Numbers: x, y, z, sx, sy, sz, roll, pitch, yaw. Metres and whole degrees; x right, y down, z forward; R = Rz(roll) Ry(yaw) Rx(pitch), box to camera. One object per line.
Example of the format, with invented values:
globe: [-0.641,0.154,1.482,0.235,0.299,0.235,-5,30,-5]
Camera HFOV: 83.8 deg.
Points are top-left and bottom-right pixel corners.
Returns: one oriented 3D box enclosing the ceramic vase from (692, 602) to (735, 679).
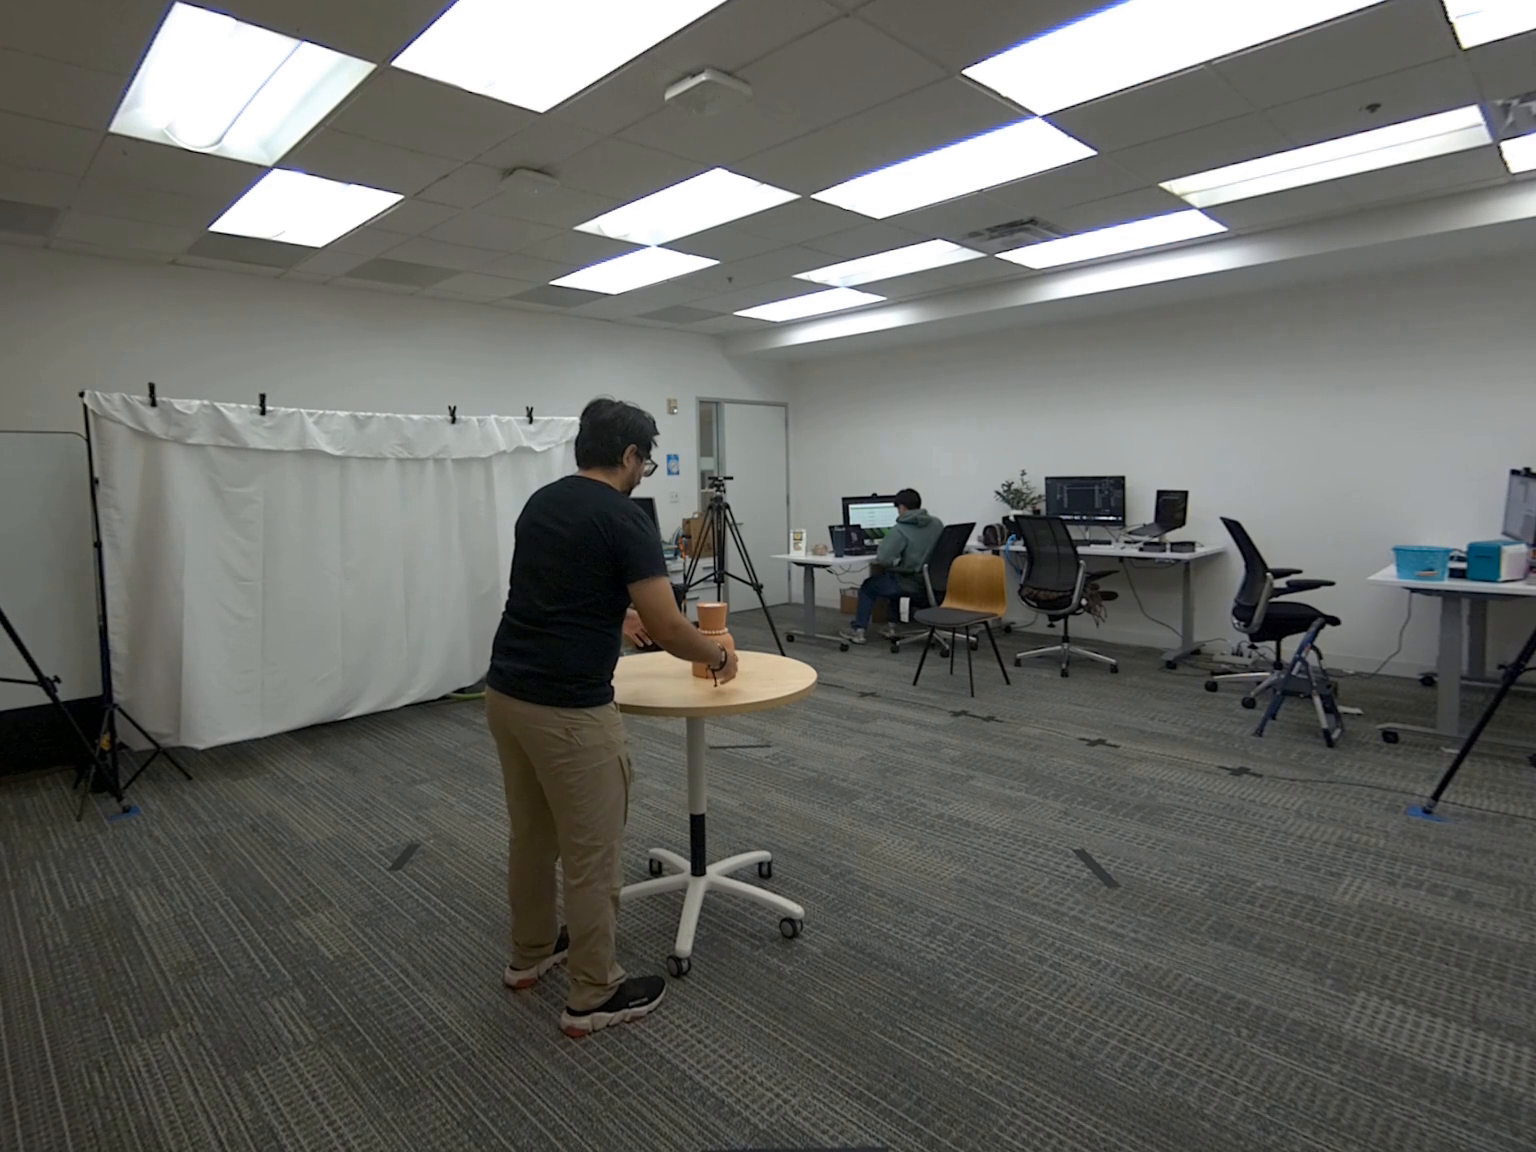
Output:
ceramic vase: [-0.170,0.200,2.669,0.163,0.219,0.132,1,5,27]
